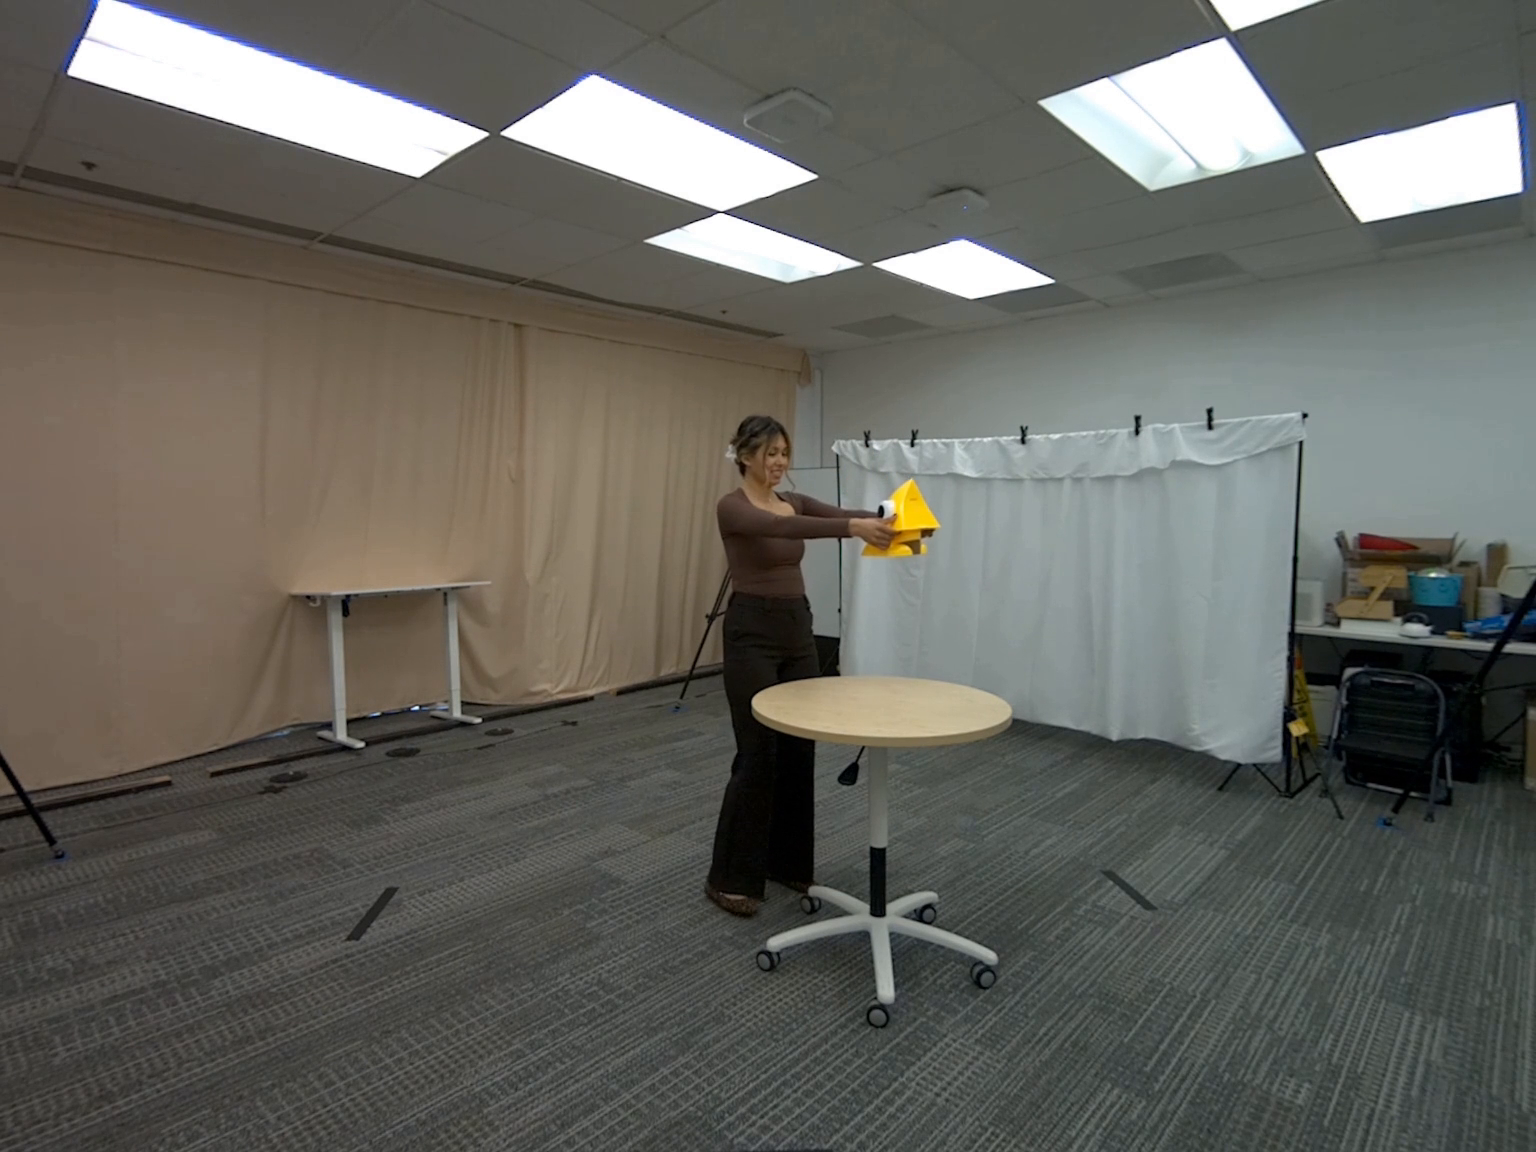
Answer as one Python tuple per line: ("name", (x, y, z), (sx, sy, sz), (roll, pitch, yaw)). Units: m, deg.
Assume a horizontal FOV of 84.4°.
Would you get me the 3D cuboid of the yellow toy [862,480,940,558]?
("yellow toy", (0.403, -0.182, 2.589), (0.199, 0.230, 0.199), (1, 5, 45))
